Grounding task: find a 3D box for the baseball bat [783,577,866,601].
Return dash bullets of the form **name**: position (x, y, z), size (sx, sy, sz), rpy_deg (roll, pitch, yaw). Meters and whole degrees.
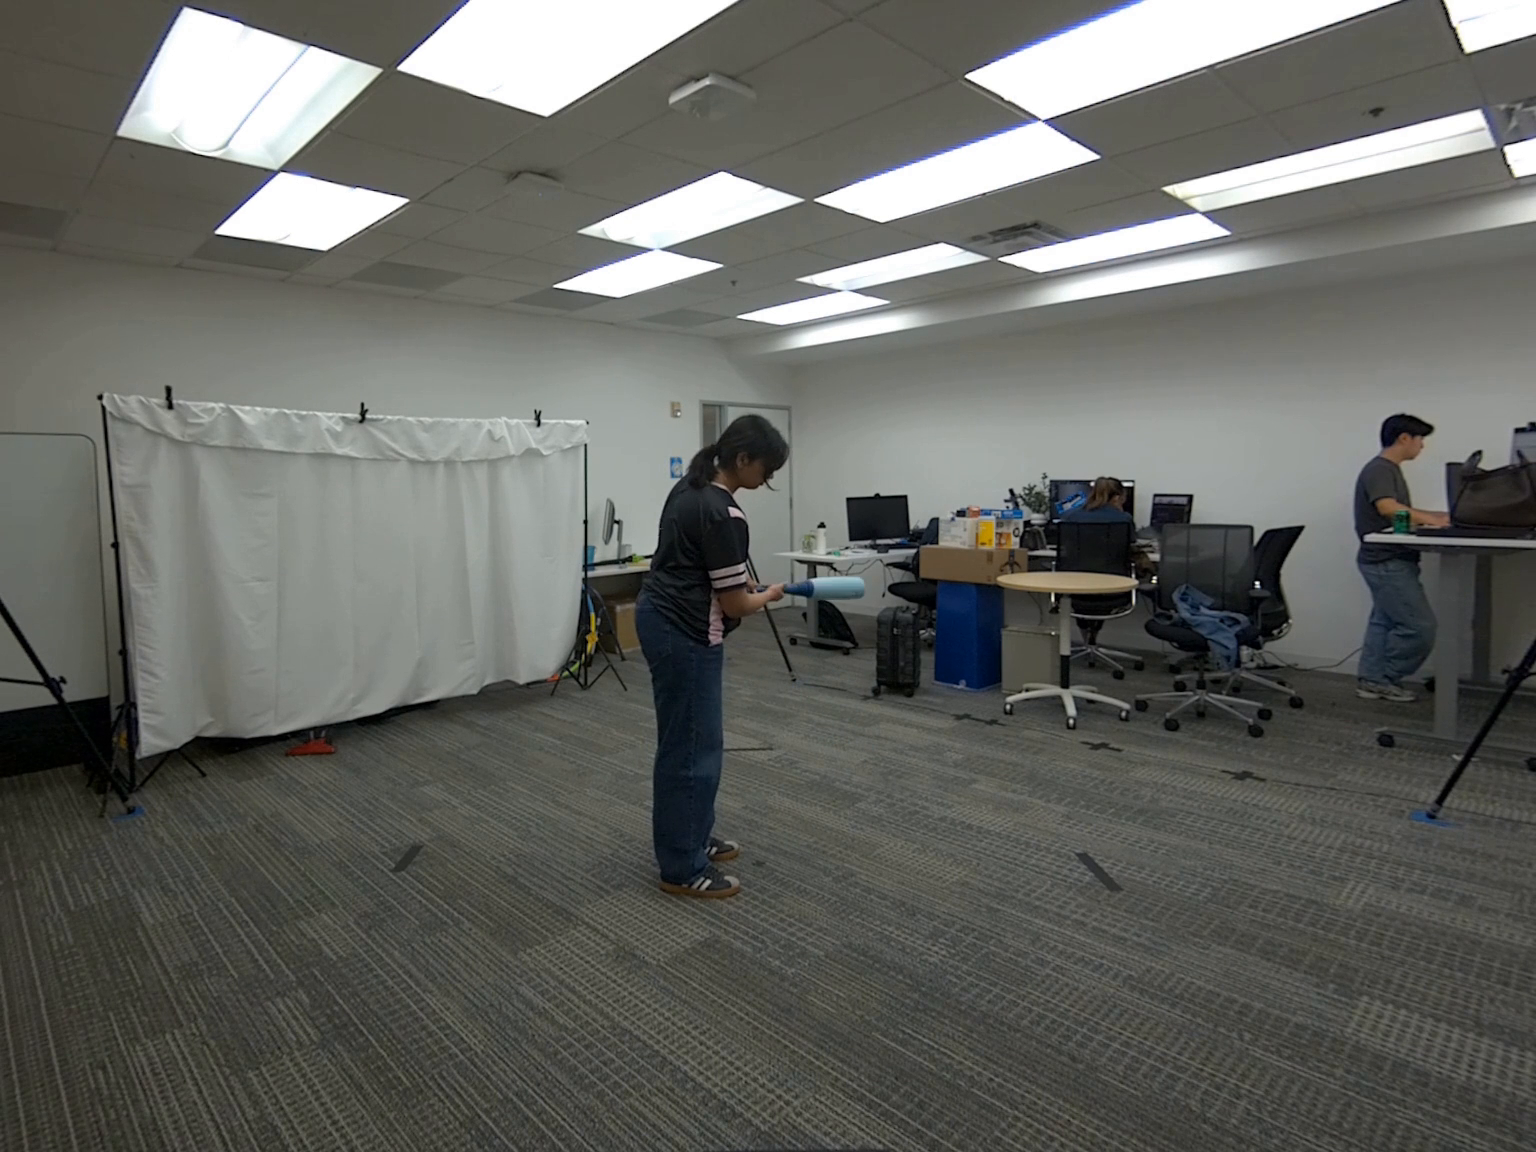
- **baseball bat**: position (0.136, 0.066, 3.218), size (0.529, 0.089, 0.091), rpy_deg (-1, 4, -30)
